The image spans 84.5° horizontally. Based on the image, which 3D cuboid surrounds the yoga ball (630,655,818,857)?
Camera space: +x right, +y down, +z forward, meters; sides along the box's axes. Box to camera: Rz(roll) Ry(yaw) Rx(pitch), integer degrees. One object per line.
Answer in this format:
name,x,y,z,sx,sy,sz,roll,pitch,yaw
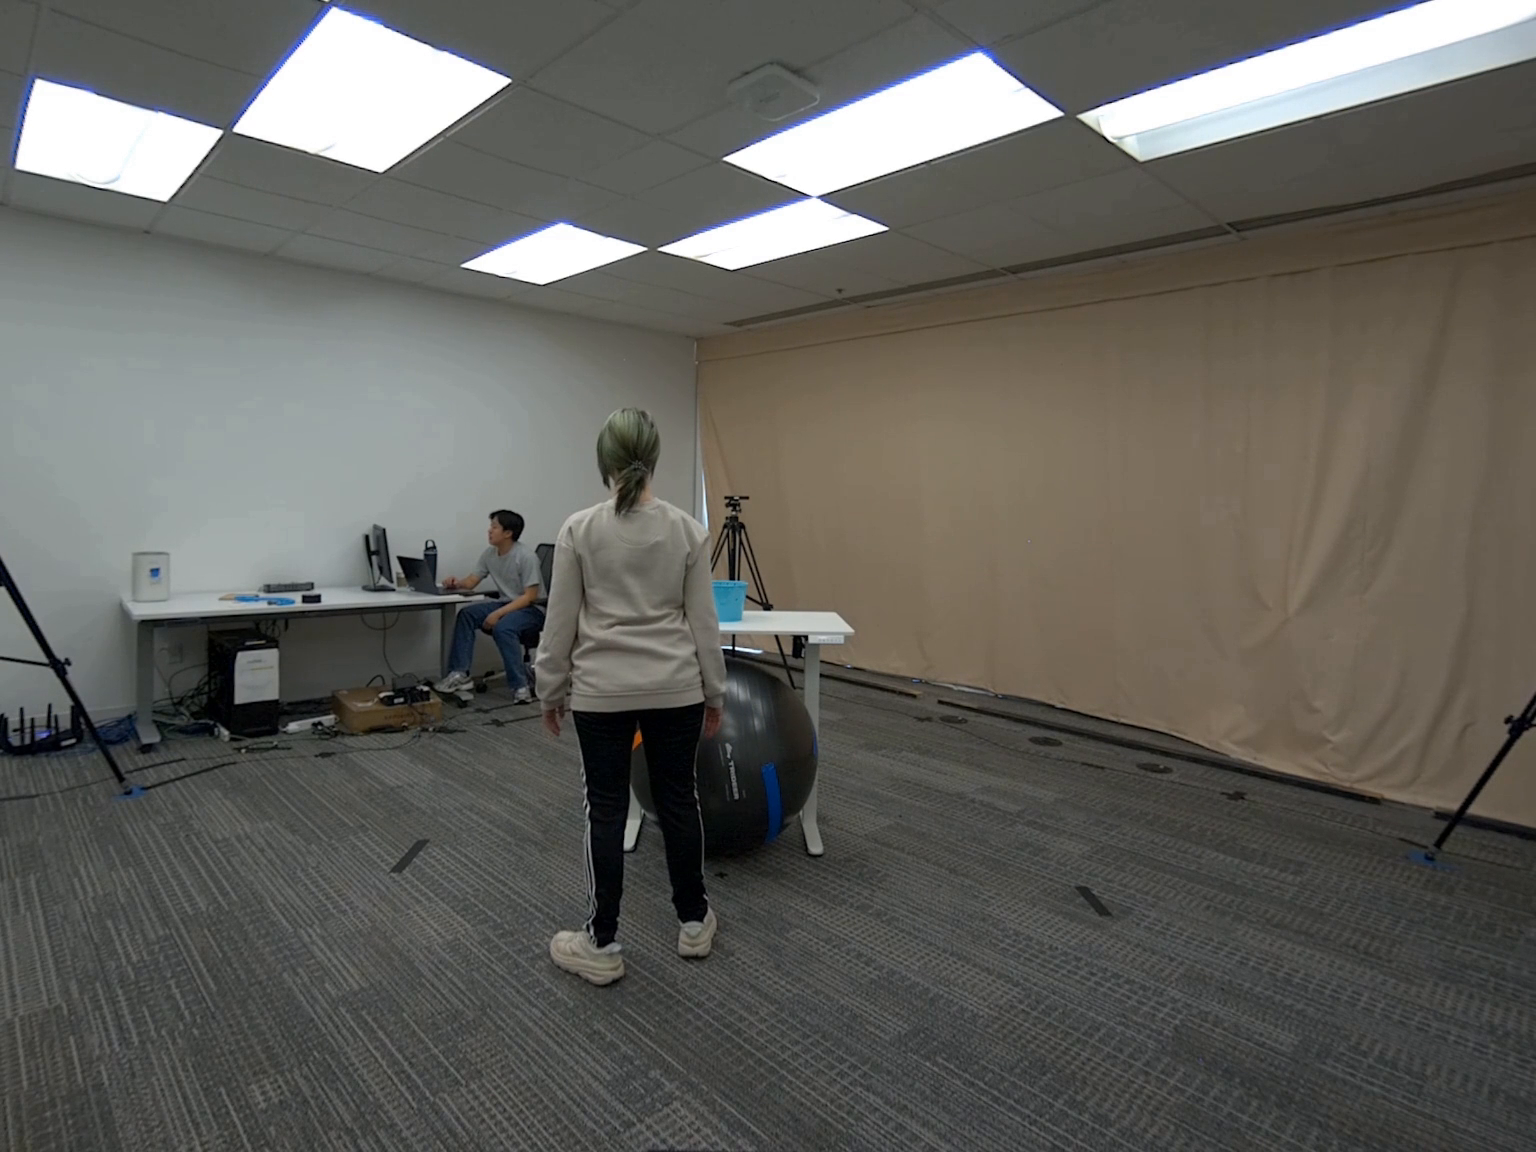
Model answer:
yoga ball,-0.186,0.709,3.354,0.757,0.756,0.761,1,4,-1
